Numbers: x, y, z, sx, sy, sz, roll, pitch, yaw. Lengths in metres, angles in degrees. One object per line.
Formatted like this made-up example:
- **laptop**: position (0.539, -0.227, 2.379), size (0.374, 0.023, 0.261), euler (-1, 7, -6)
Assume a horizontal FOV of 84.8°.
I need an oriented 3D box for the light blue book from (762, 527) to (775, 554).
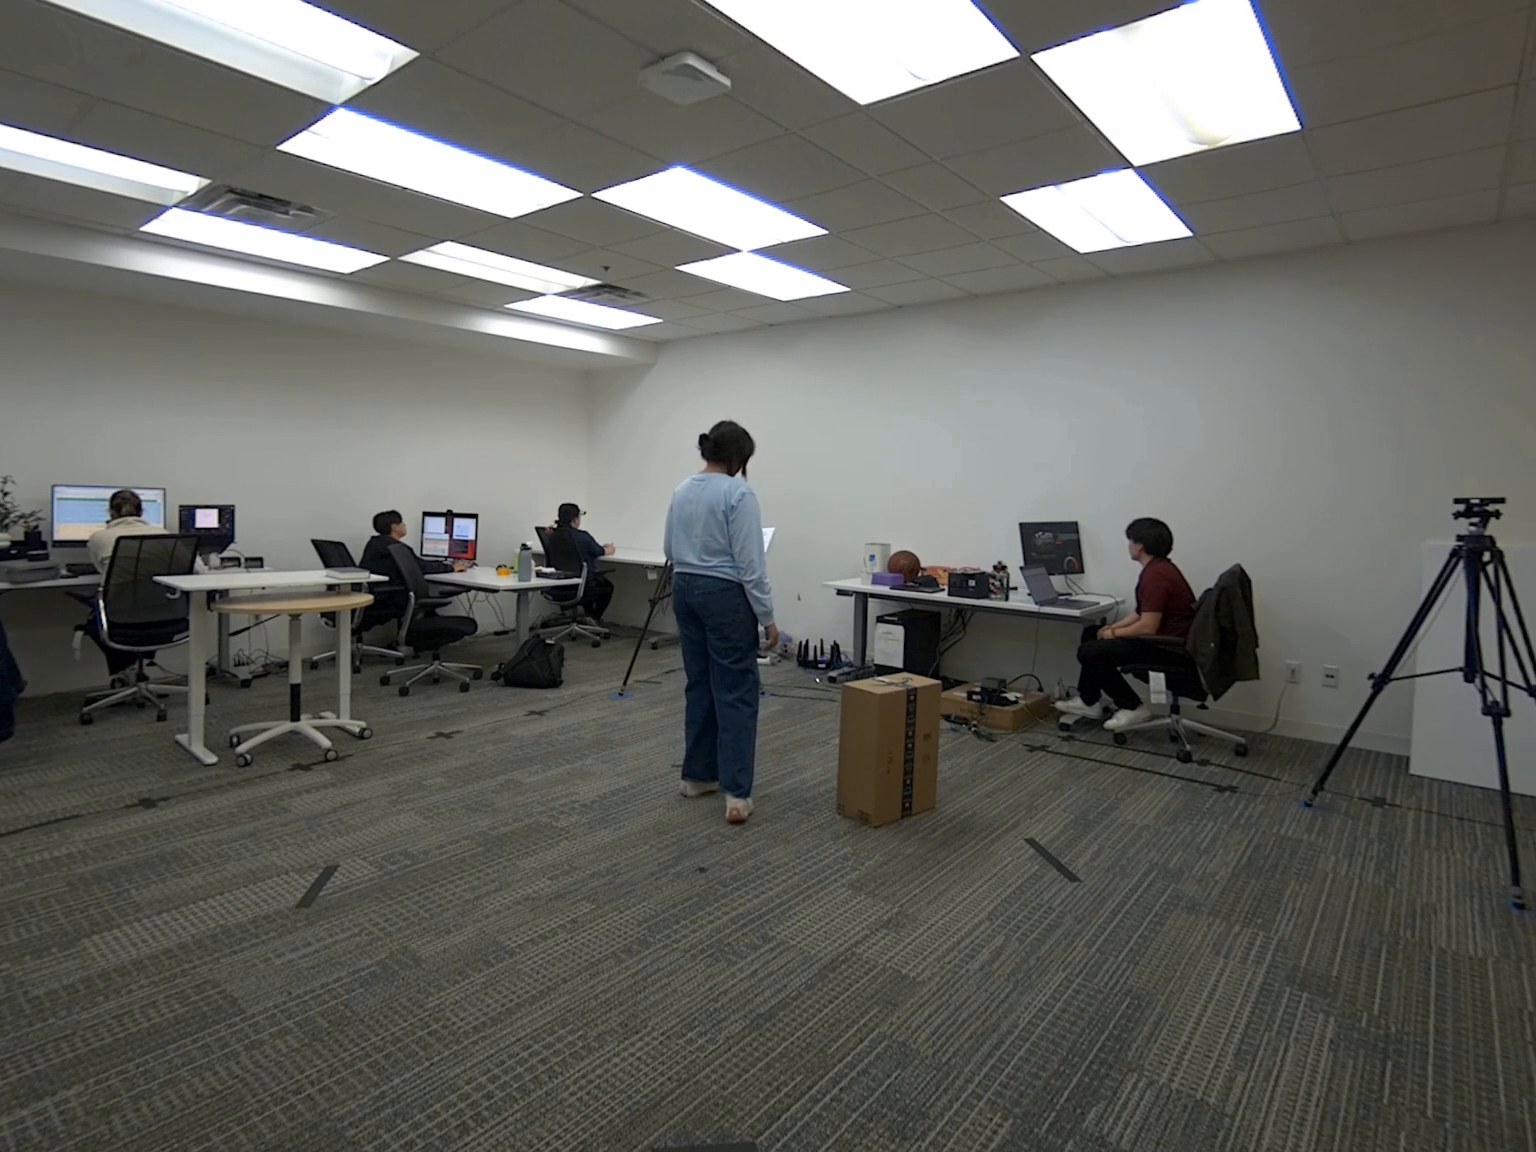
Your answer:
- **light blue book**: position (-0.074, -0.145, 4.055), size (0.195, 0.057, 0.262), euler (-2, 27, 22)
